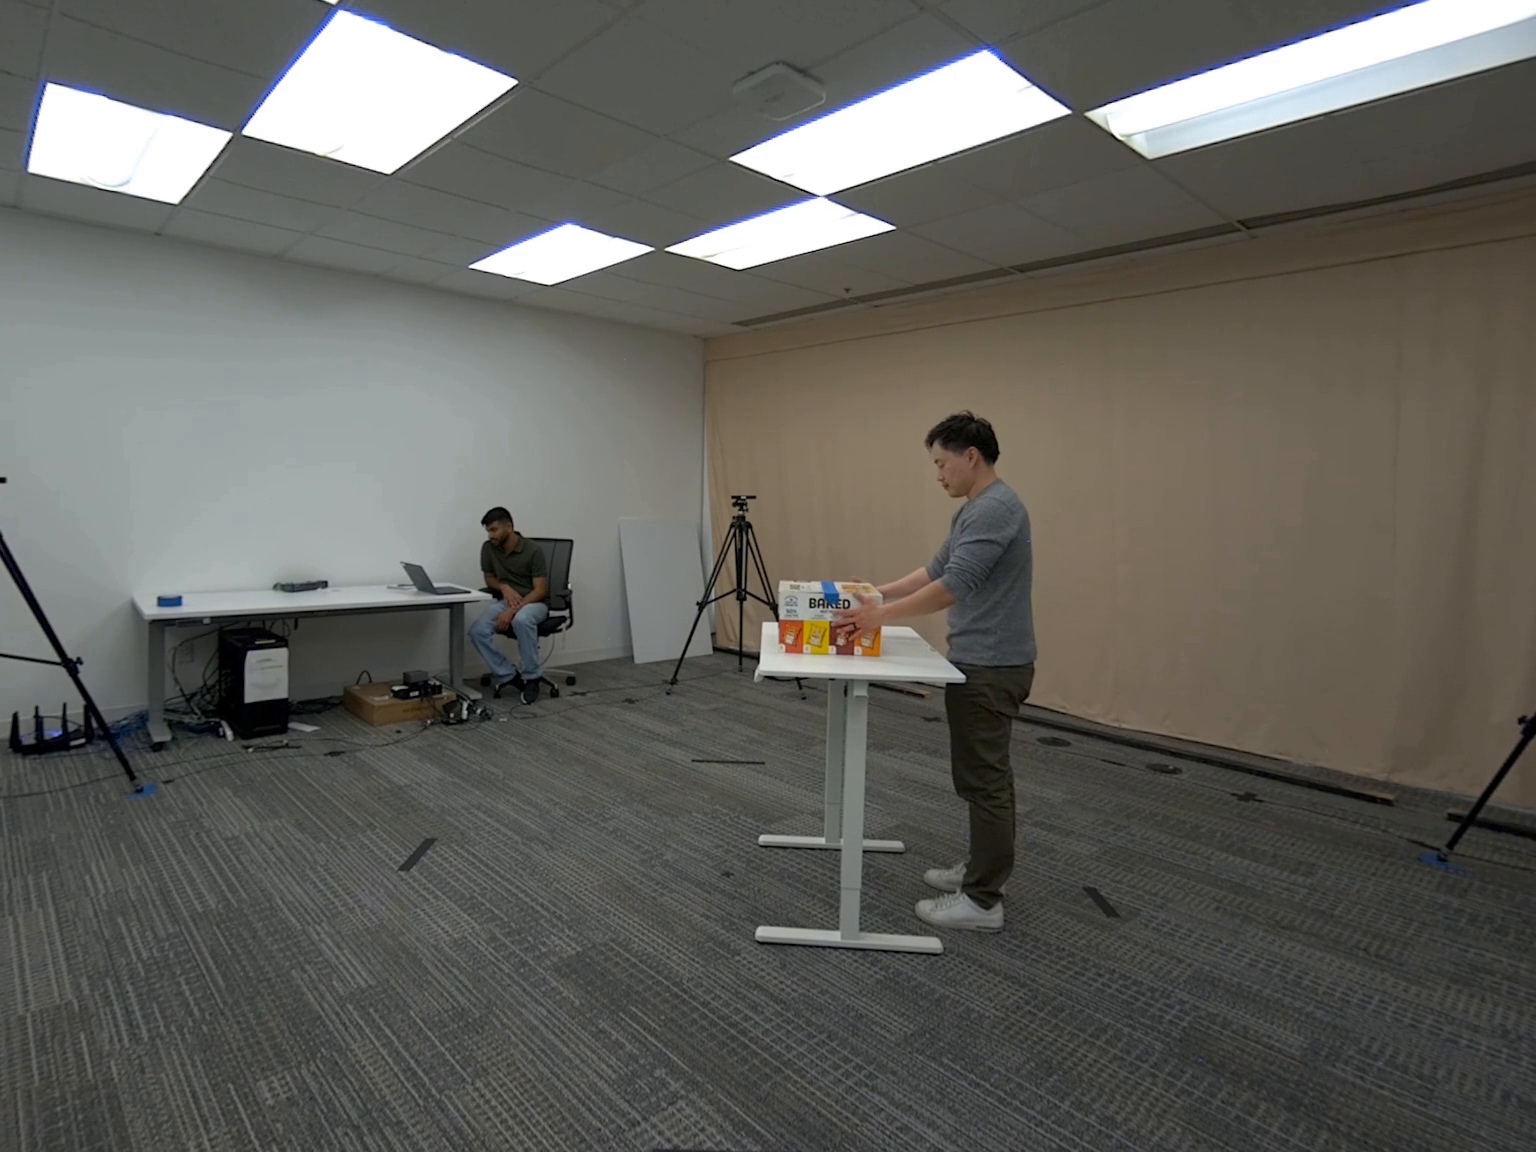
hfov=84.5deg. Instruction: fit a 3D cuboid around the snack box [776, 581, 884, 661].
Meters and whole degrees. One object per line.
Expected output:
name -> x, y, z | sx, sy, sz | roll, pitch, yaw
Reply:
snack box -> 0.211, 0.145, 2.952 | 0.342, 0.205, 0.405 | 3, 4, 4
